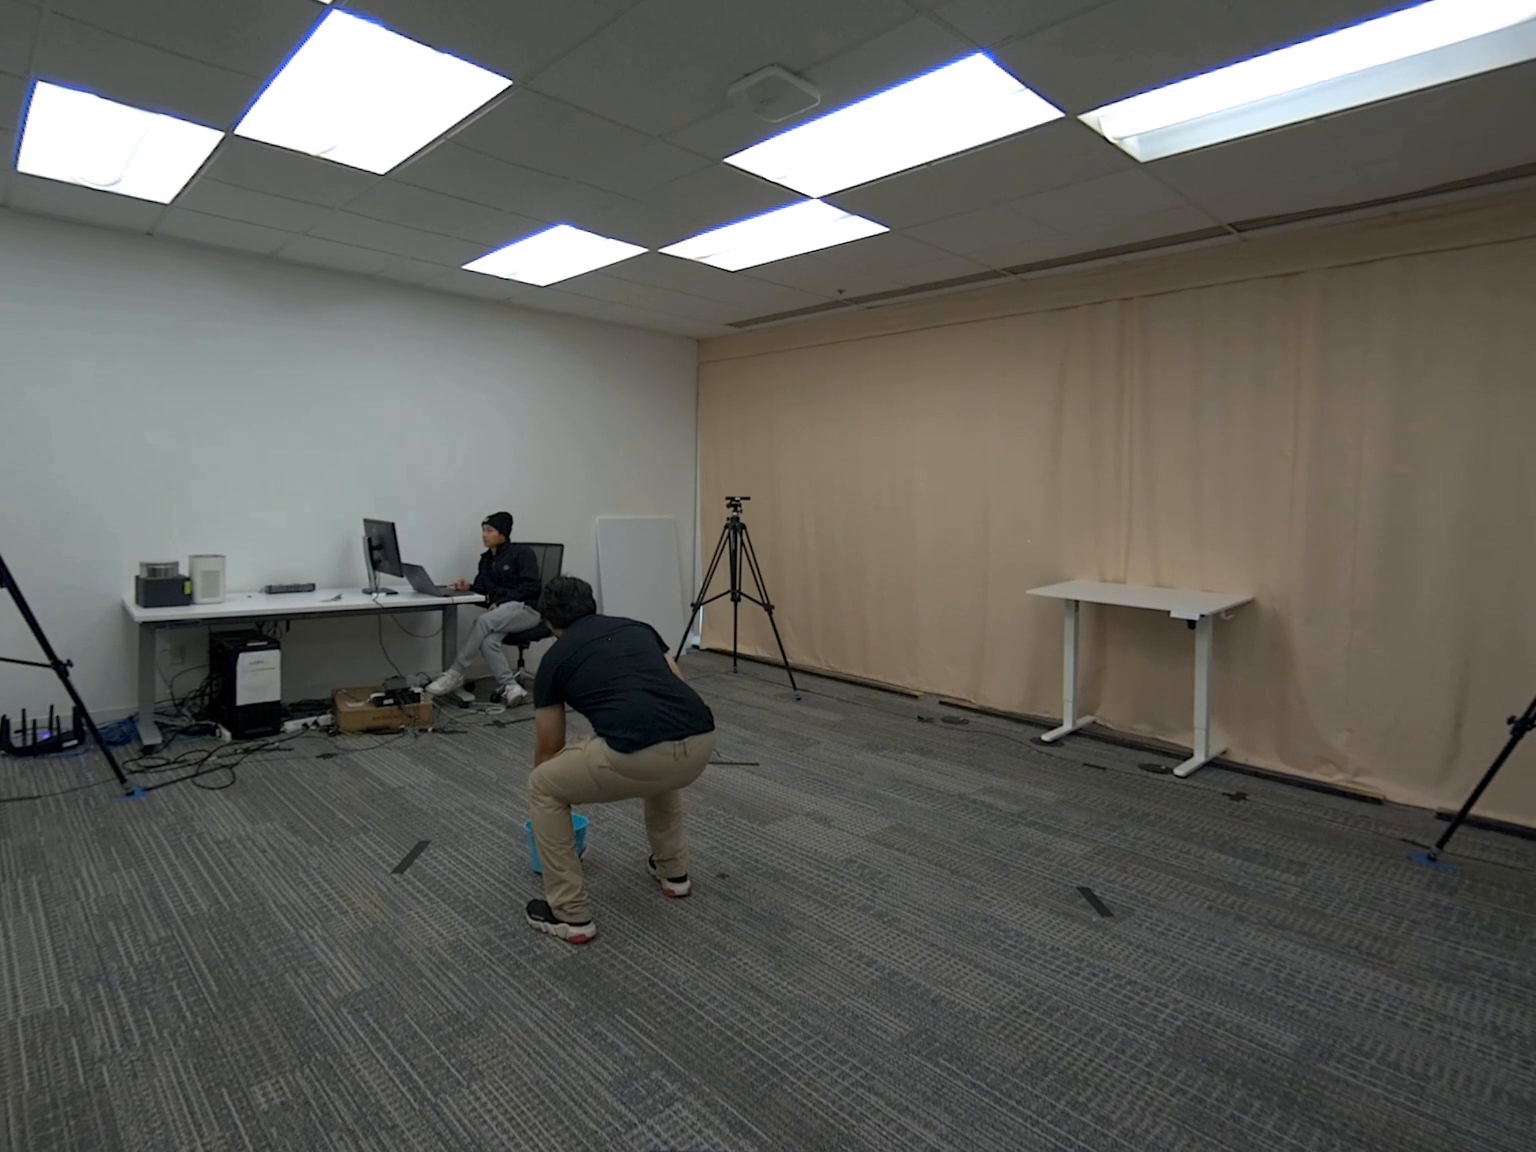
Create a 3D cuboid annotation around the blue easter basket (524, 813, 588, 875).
[{"bbox_3d":[-0.789,0.994,3.132,0.243,0.155,0.244,3,4,-2],"label":"blue easter basket"}]
